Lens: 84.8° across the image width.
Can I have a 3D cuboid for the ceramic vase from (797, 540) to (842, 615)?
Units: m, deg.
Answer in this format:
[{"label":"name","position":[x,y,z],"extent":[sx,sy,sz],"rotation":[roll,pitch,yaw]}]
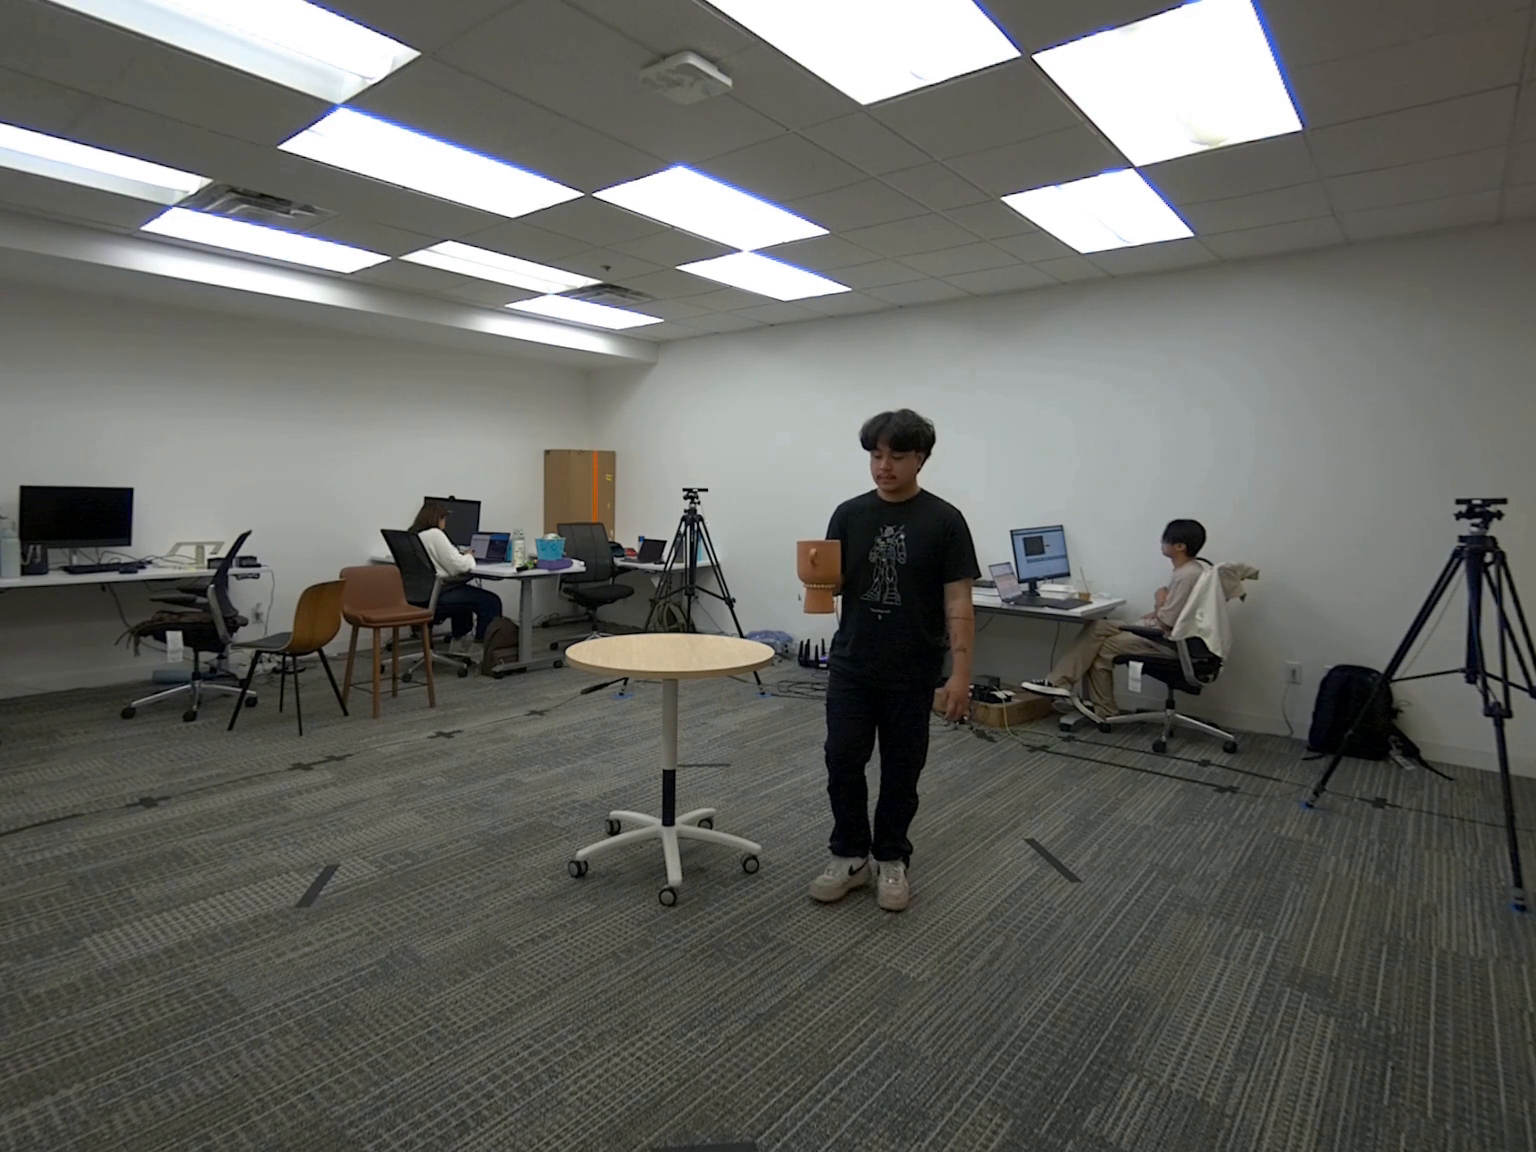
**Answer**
[{"label":"ceramic vase","position":[0.143,-0.003,2.605],"extent":[0.154,0.220,0.139],"rotation":[1,1,-36]}]
